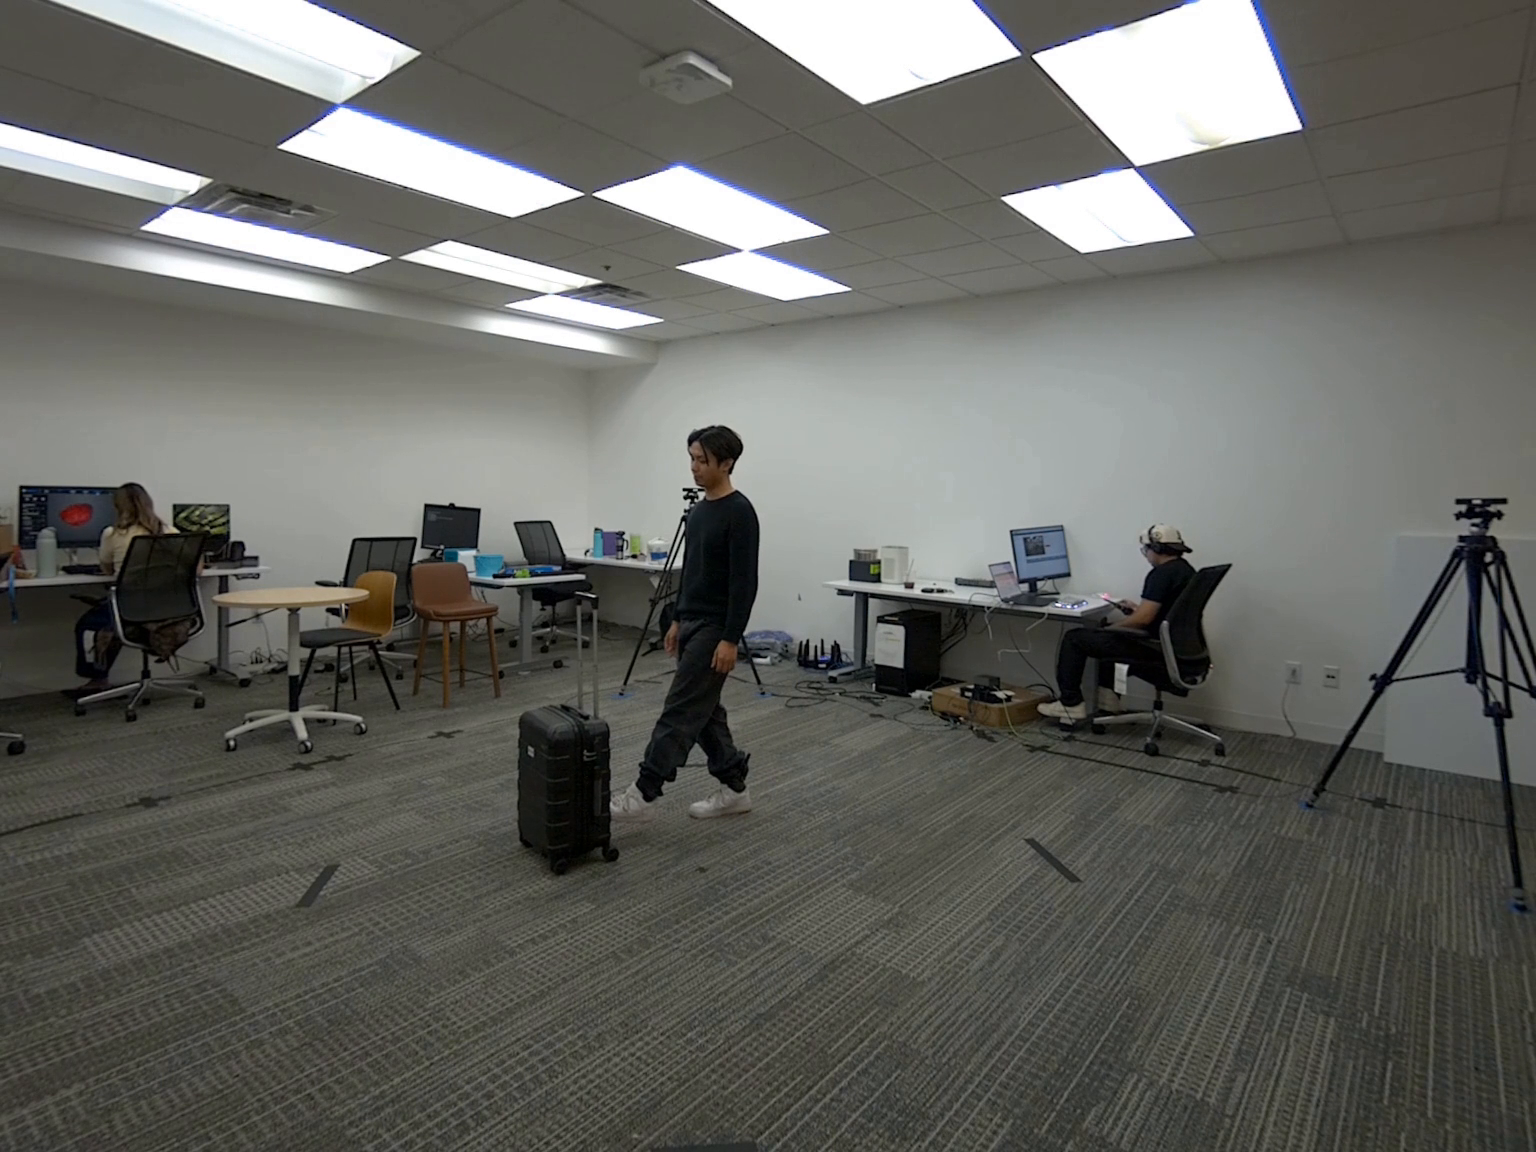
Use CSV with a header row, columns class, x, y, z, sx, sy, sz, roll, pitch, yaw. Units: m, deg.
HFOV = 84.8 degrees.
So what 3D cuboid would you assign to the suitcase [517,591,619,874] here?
class,x,y,z,sx,sy,sz,roll,pitch,yaw
suitcase,-0.787,0.575,3.191,0.250,0.975,0.396,-3,5,-35
